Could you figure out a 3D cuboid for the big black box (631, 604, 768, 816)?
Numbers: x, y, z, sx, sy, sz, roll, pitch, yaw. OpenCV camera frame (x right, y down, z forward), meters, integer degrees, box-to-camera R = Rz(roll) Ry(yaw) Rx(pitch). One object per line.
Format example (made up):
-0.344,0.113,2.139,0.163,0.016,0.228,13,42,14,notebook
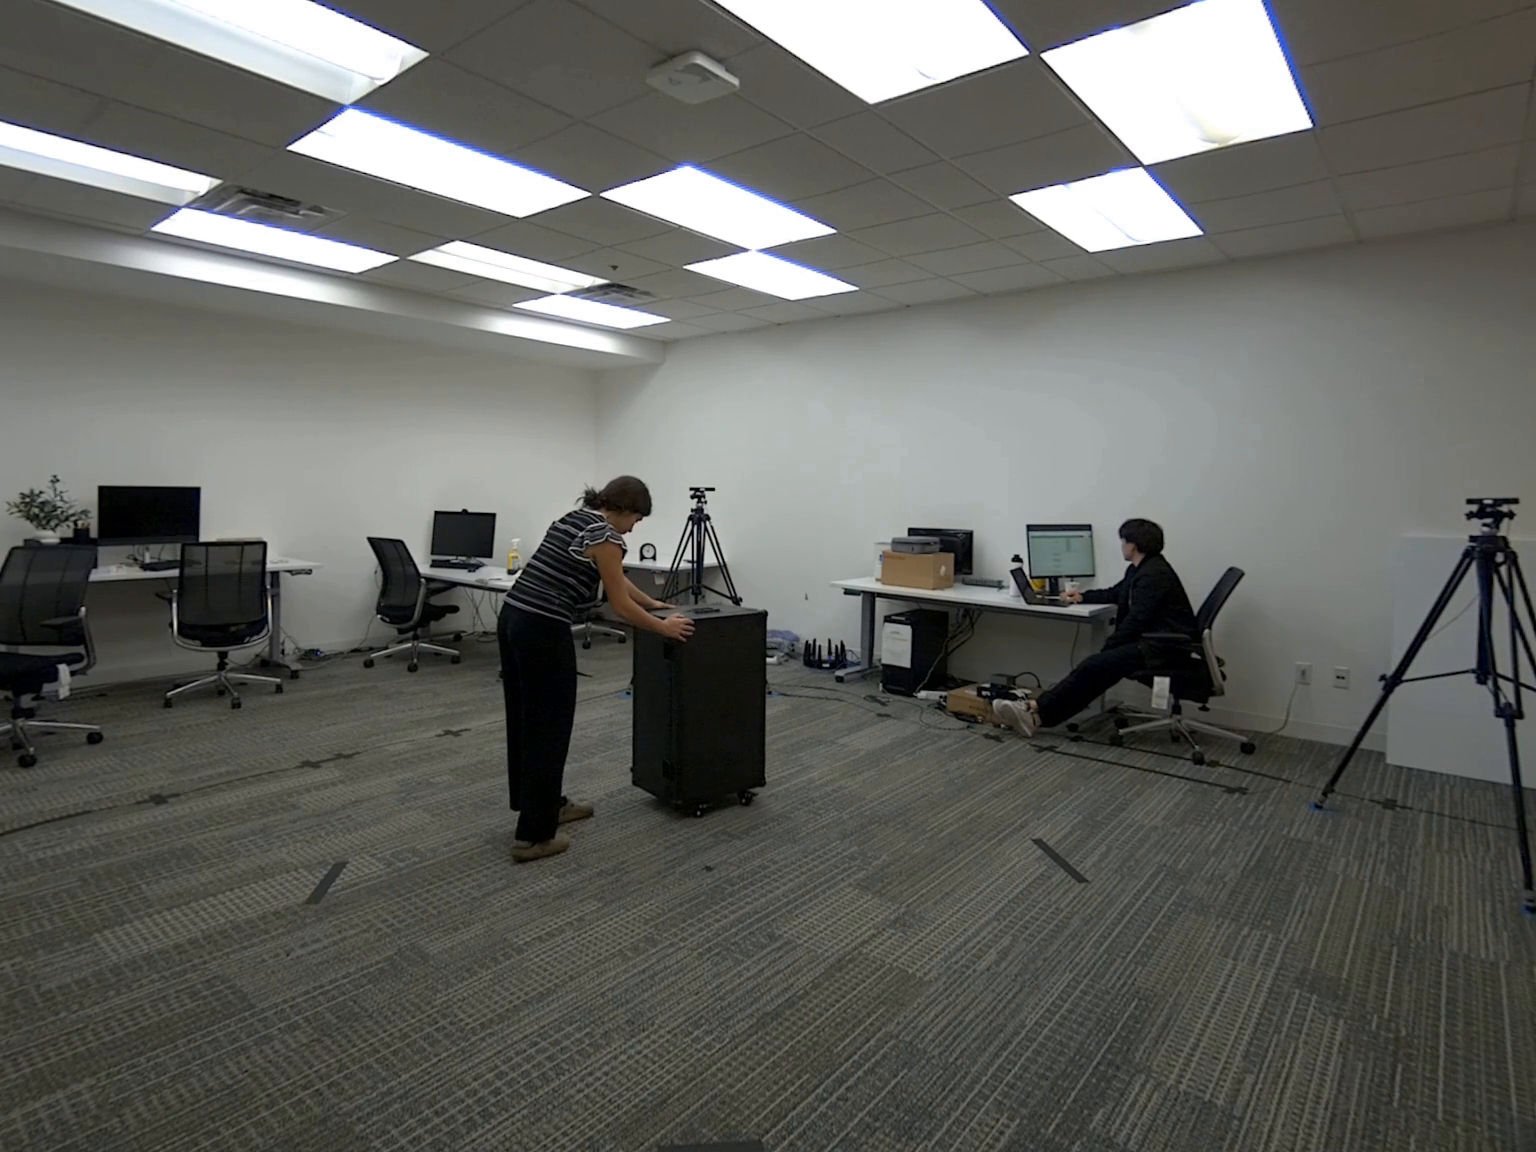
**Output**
-0.328,0.576,3.778,0.506,0.860,0.409,-2,3,-38,big black box
